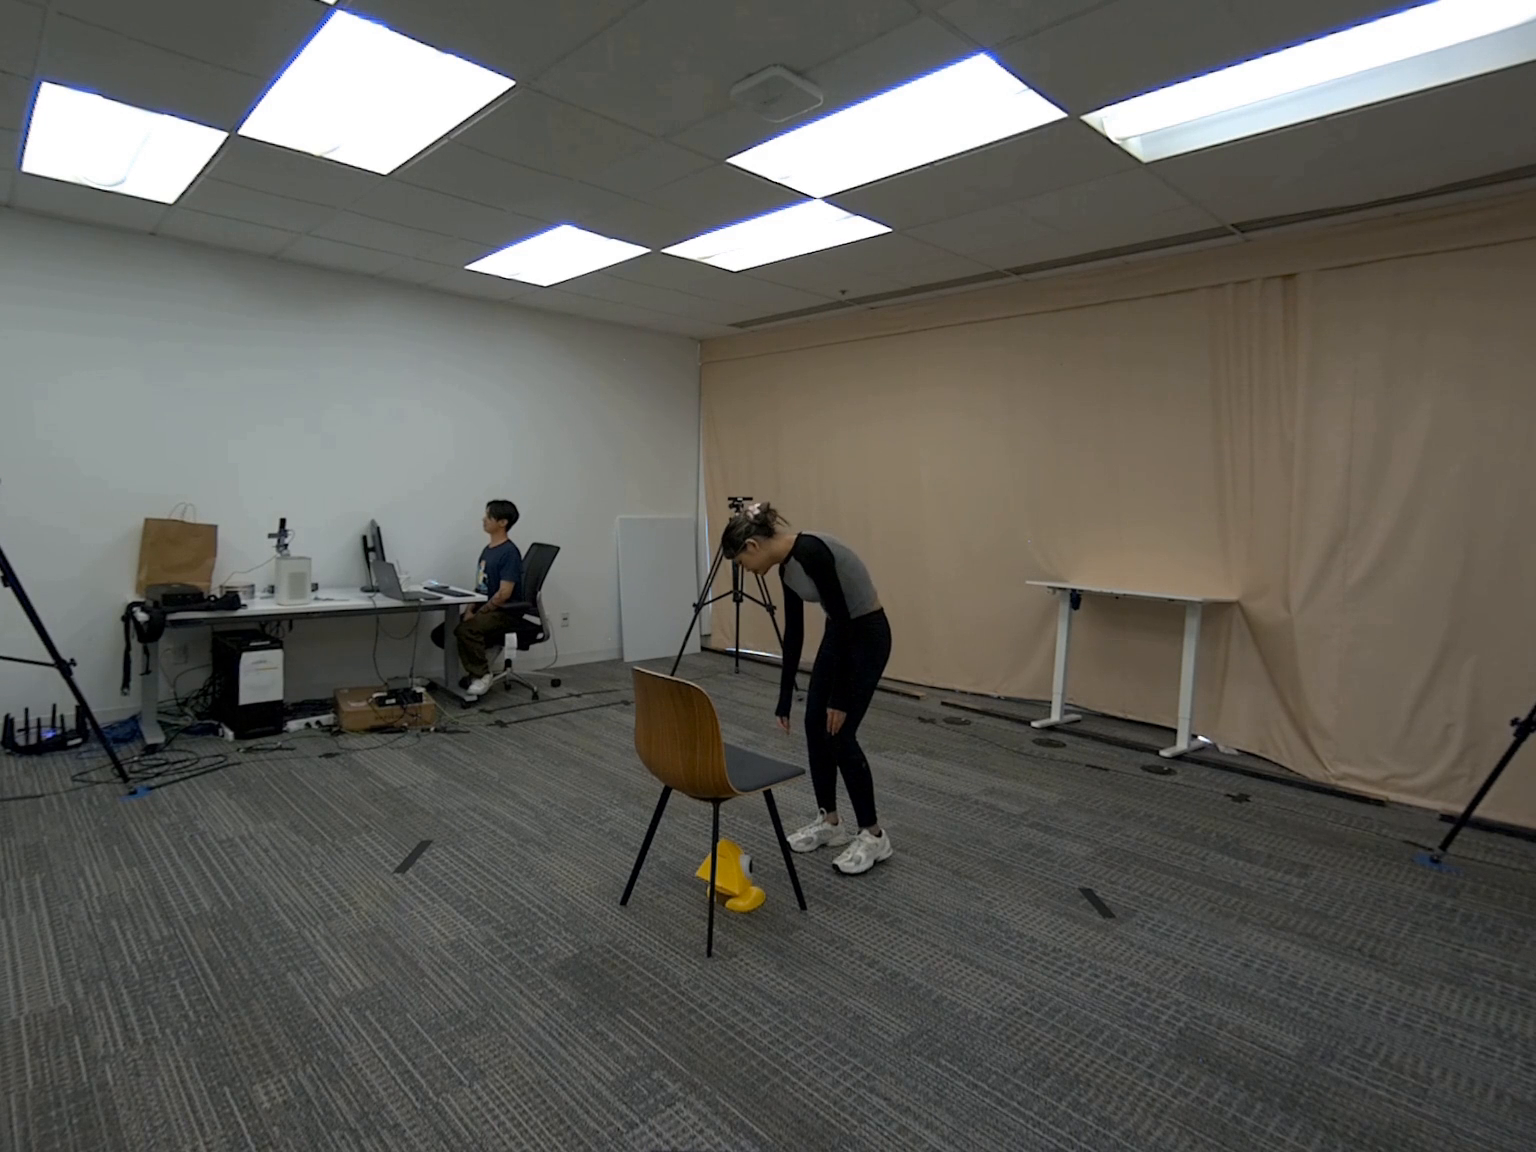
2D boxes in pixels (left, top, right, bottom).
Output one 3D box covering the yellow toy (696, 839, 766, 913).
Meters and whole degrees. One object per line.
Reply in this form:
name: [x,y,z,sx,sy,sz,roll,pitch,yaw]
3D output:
yellow toy: [-0.124,1.014,2.929,0.210,0.230,0.189,4,5,43]
